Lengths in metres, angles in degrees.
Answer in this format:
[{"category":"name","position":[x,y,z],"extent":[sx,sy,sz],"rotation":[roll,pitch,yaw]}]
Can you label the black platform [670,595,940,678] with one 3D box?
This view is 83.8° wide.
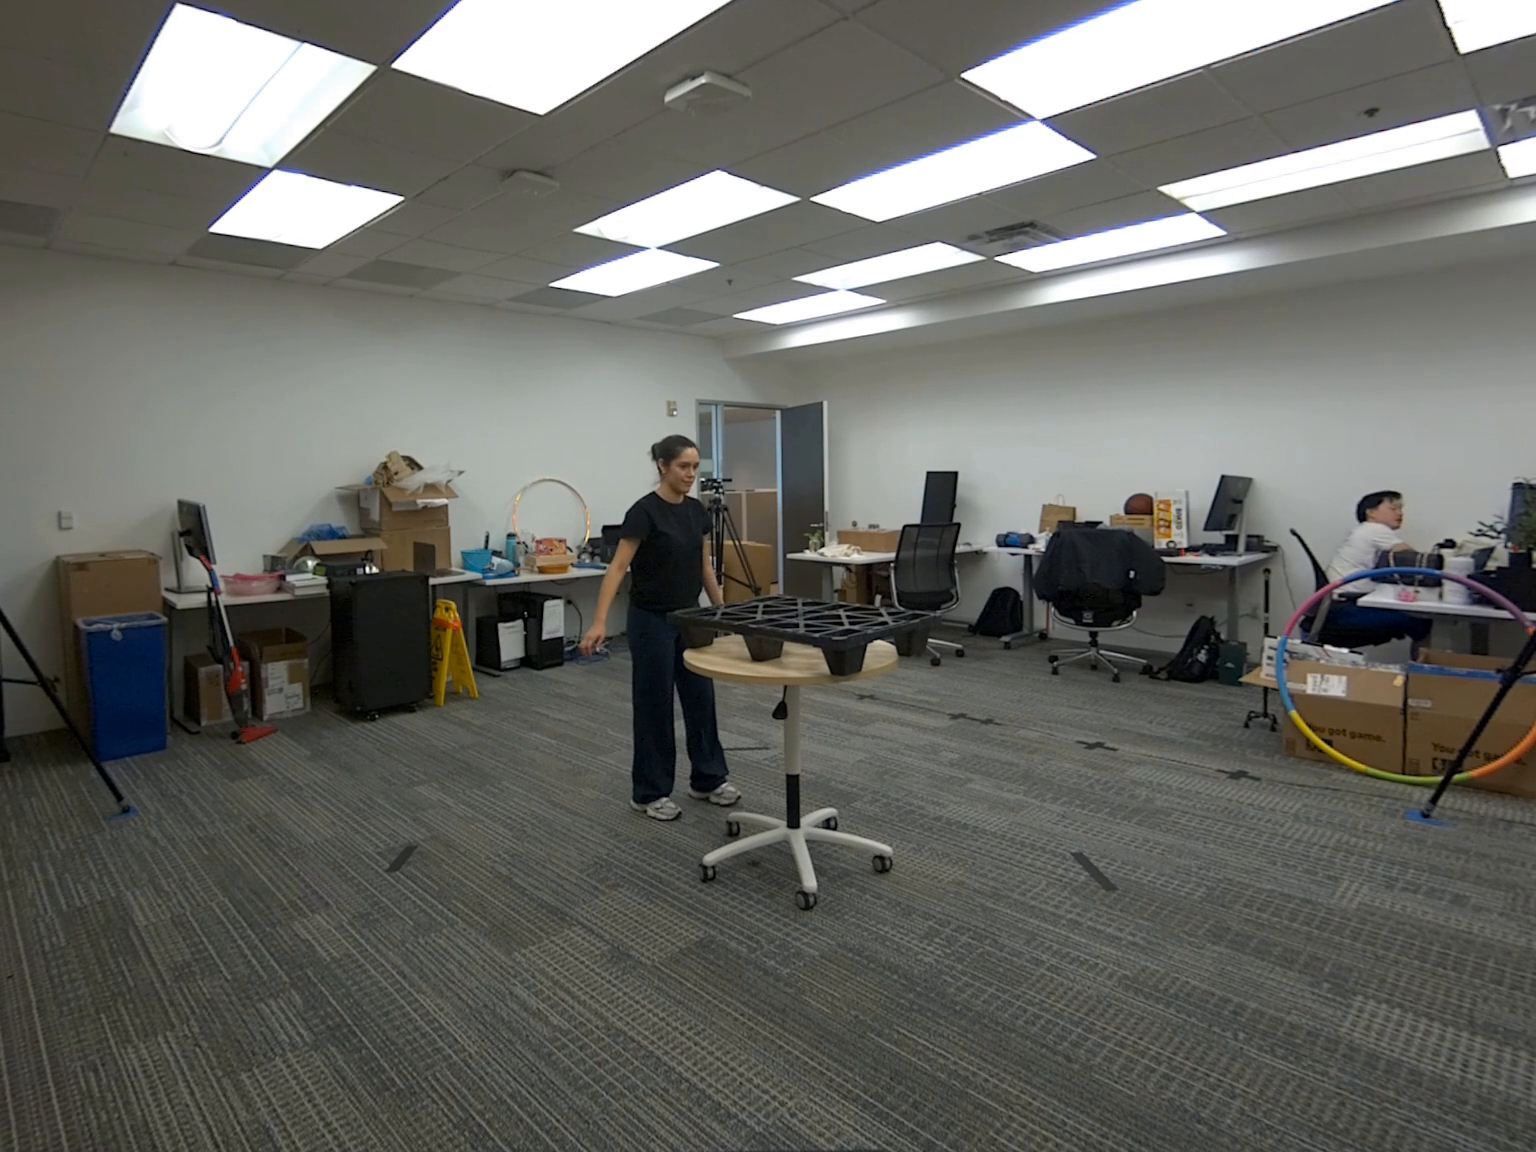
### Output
[{"category":"black platform","position":[0.118,0.200,3.072],"extent":[0.830,0.143,0.589],"rotation":[5,9,44]}]
